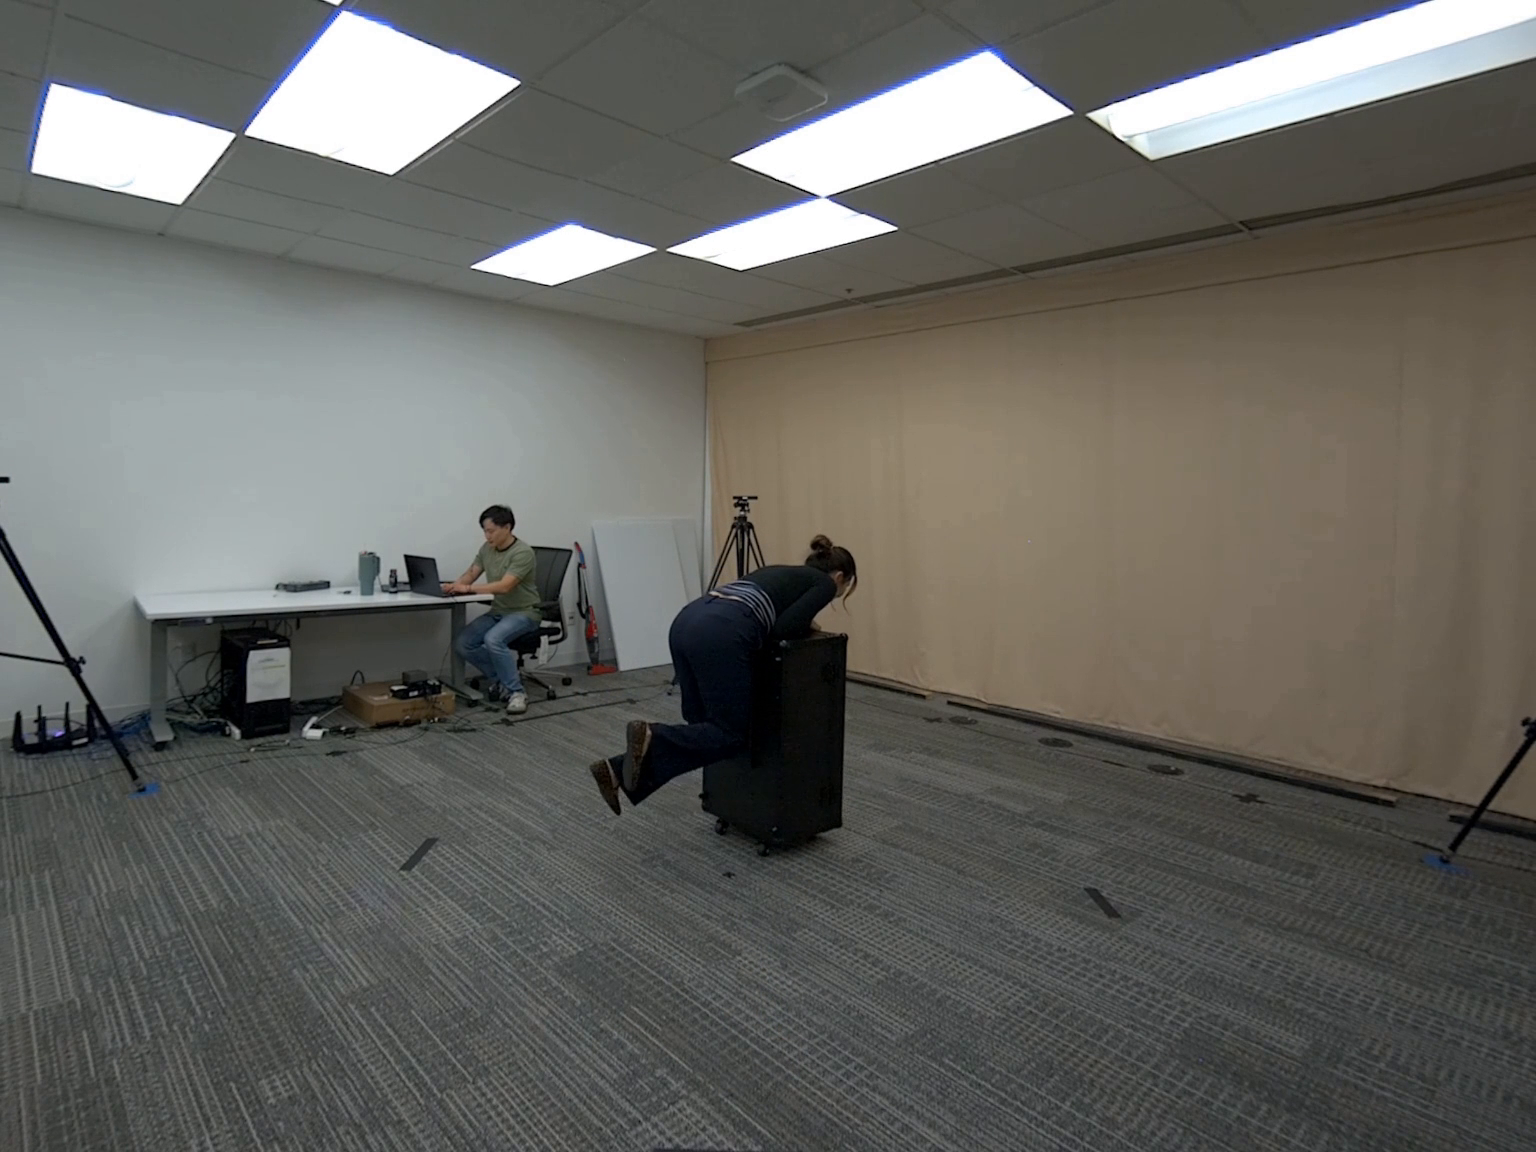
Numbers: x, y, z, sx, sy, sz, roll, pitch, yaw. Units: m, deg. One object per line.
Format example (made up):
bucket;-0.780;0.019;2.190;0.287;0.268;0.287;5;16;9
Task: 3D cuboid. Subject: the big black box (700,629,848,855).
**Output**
big black box;0.007;0.651;3.455;0.387;0.859;0.534;-1;5;-41
